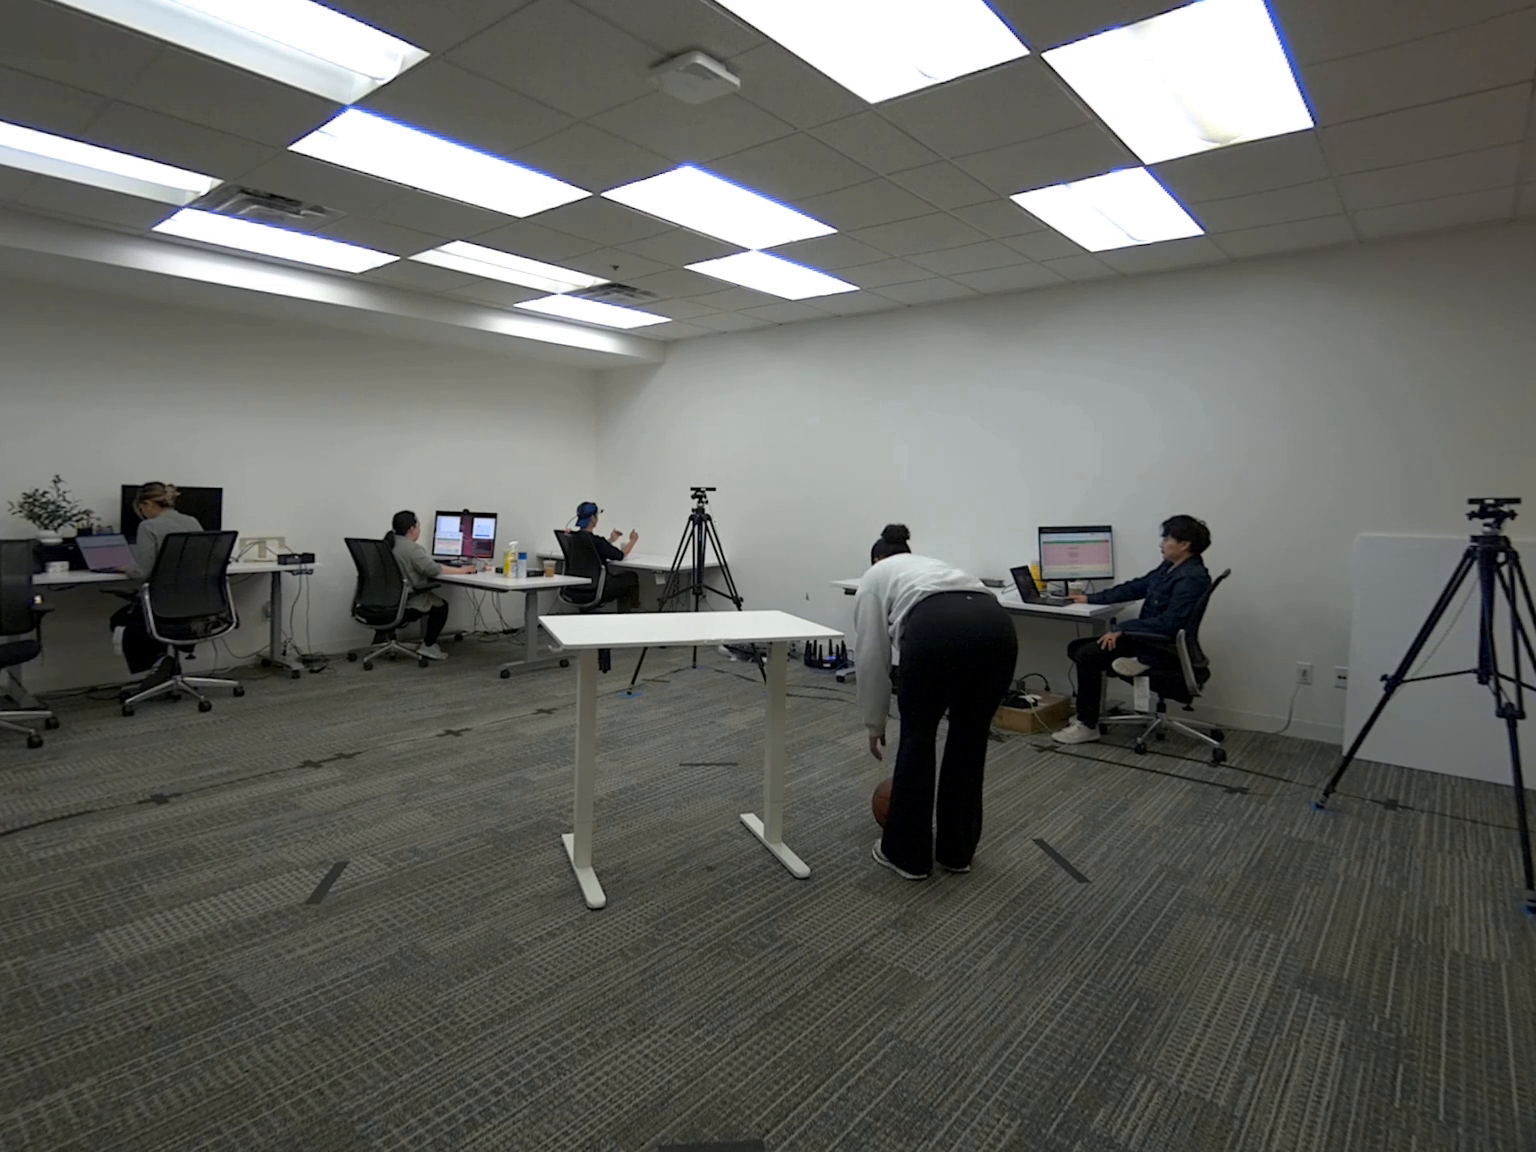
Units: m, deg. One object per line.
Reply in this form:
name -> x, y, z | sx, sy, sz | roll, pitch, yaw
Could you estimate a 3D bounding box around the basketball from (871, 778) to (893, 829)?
basketball -> 0.535, 0.920, 3.450 | 0.235, 0.235, 0.237 | 1, 4, -2
